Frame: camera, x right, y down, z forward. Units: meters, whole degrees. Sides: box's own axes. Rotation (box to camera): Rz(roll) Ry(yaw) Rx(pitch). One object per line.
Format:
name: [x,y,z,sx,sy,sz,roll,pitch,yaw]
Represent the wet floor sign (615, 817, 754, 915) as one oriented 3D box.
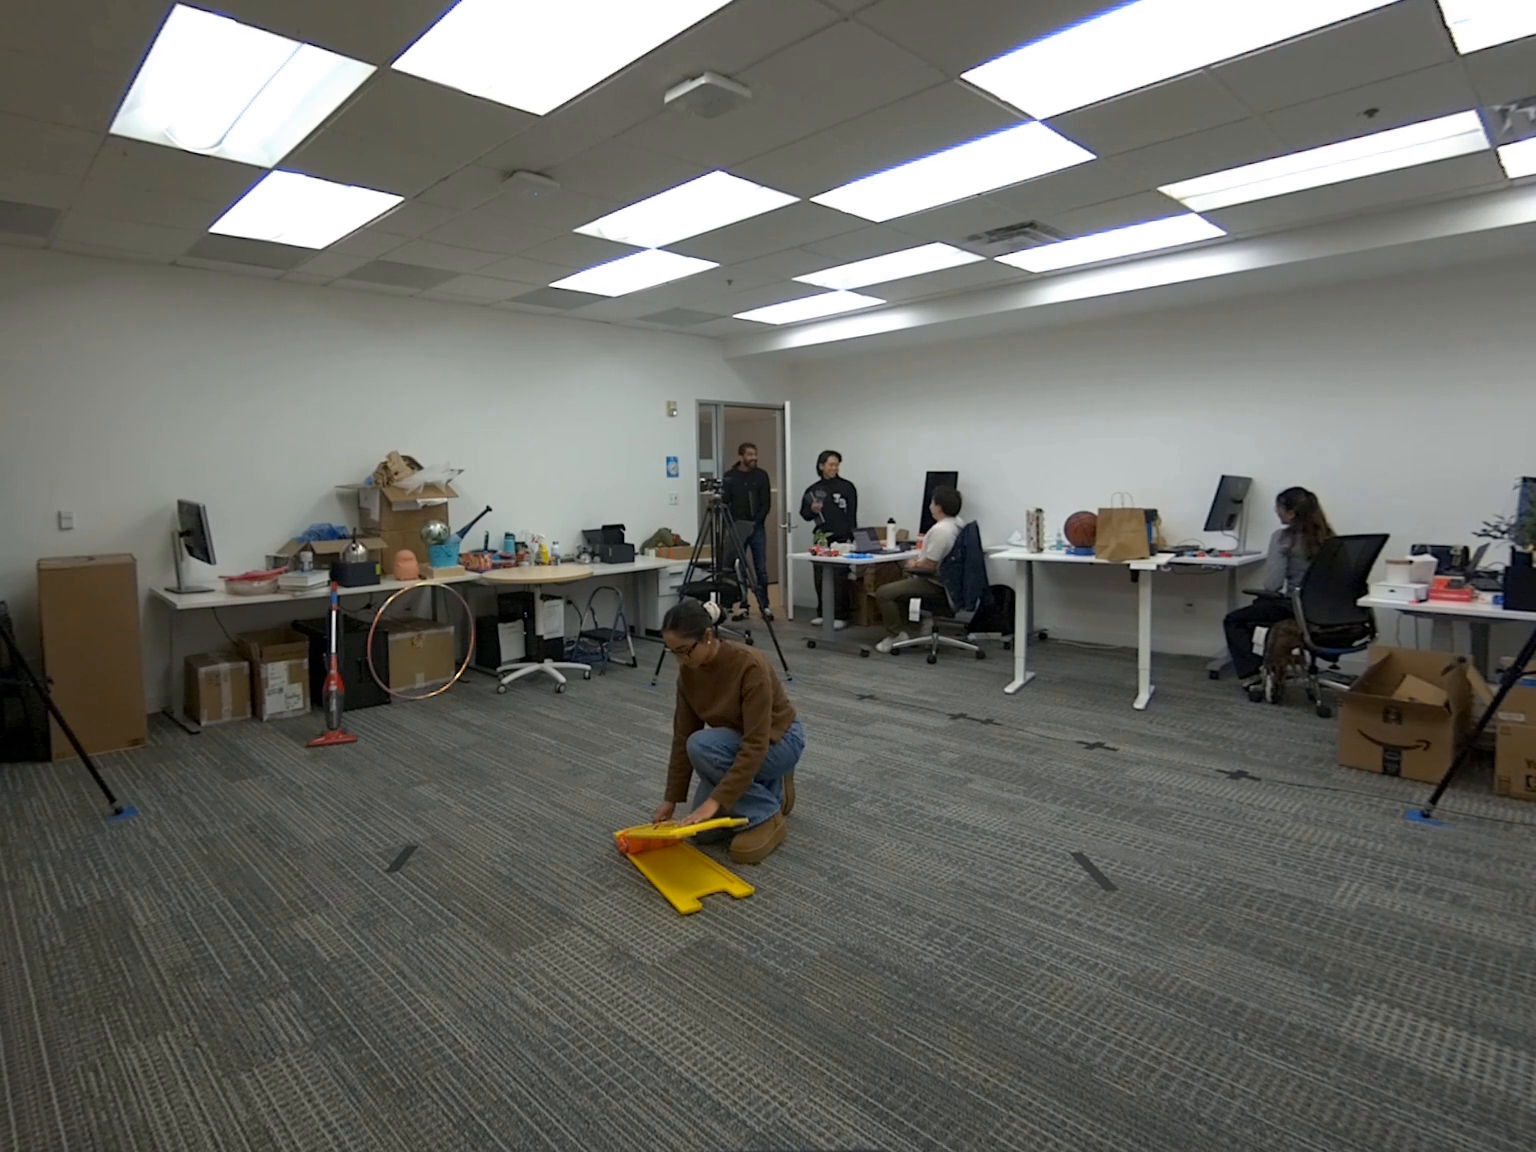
wet floor sign: [-0.343,0.974,3.084,0.275,0.291,0.660,-3,-3,-32]
